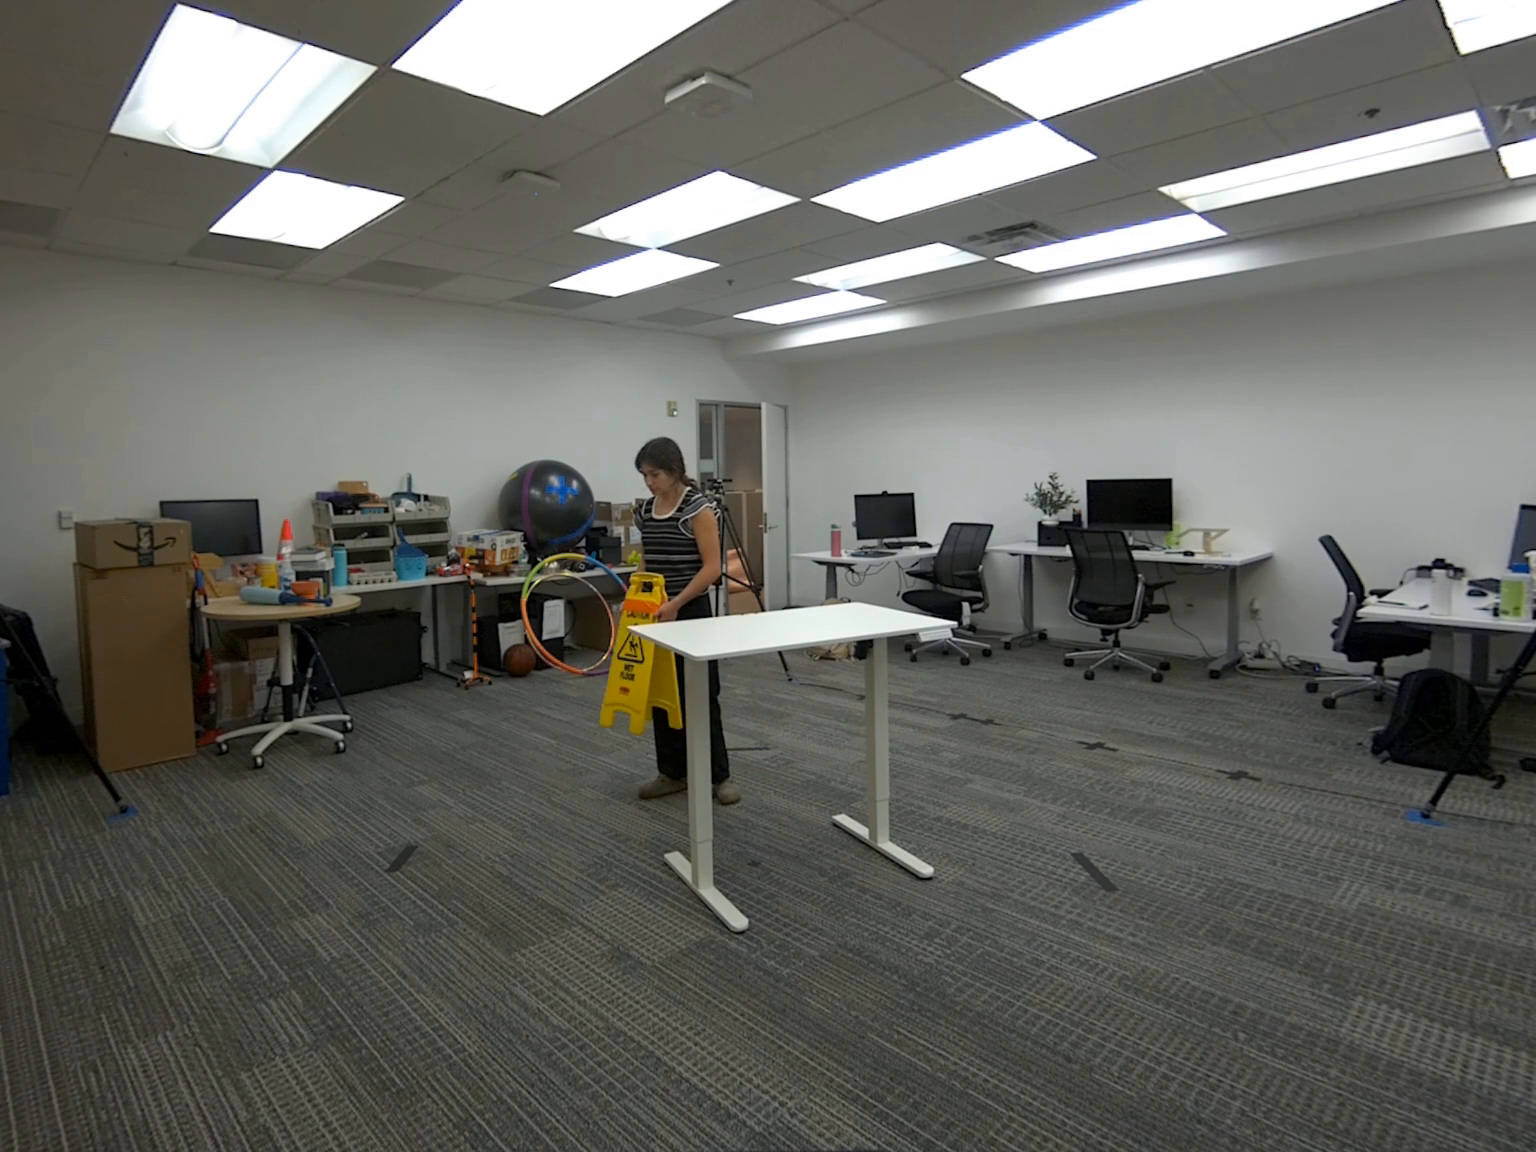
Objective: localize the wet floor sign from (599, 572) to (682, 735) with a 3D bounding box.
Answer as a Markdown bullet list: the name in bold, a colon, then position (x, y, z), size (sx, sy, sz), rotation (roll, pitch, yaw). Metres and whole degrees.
- **wet floor sign**: position (-0.523, 0.320, 3.643), size (0.281, 0.647, 0.290), rotation (3, -1, -44)
